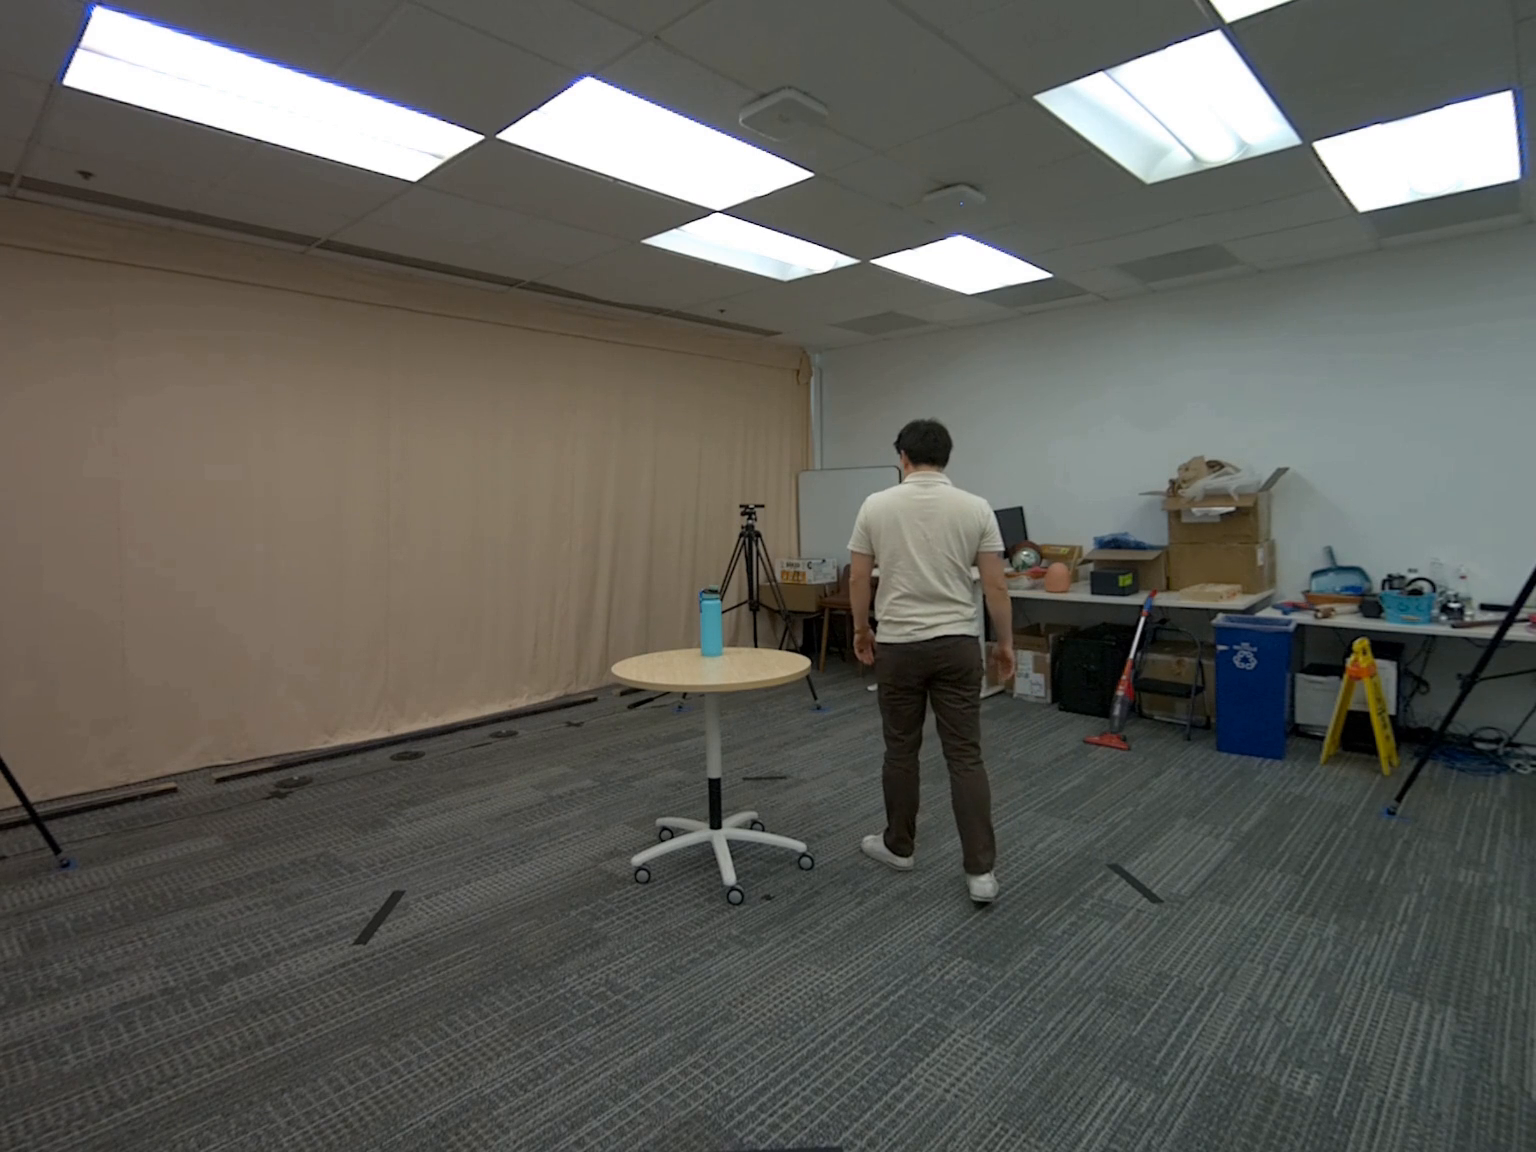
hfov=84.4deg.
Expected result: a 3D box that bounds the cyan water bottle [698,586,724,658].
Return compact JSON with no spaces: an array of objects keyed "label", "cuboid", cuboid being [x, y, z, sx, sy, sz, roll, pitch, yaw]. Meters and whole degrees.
[{"label":"cyan water bottle","cuboid":[-0.233,0.183,3.447,0.092,0.282,0.093,-3,4,-2]}]
